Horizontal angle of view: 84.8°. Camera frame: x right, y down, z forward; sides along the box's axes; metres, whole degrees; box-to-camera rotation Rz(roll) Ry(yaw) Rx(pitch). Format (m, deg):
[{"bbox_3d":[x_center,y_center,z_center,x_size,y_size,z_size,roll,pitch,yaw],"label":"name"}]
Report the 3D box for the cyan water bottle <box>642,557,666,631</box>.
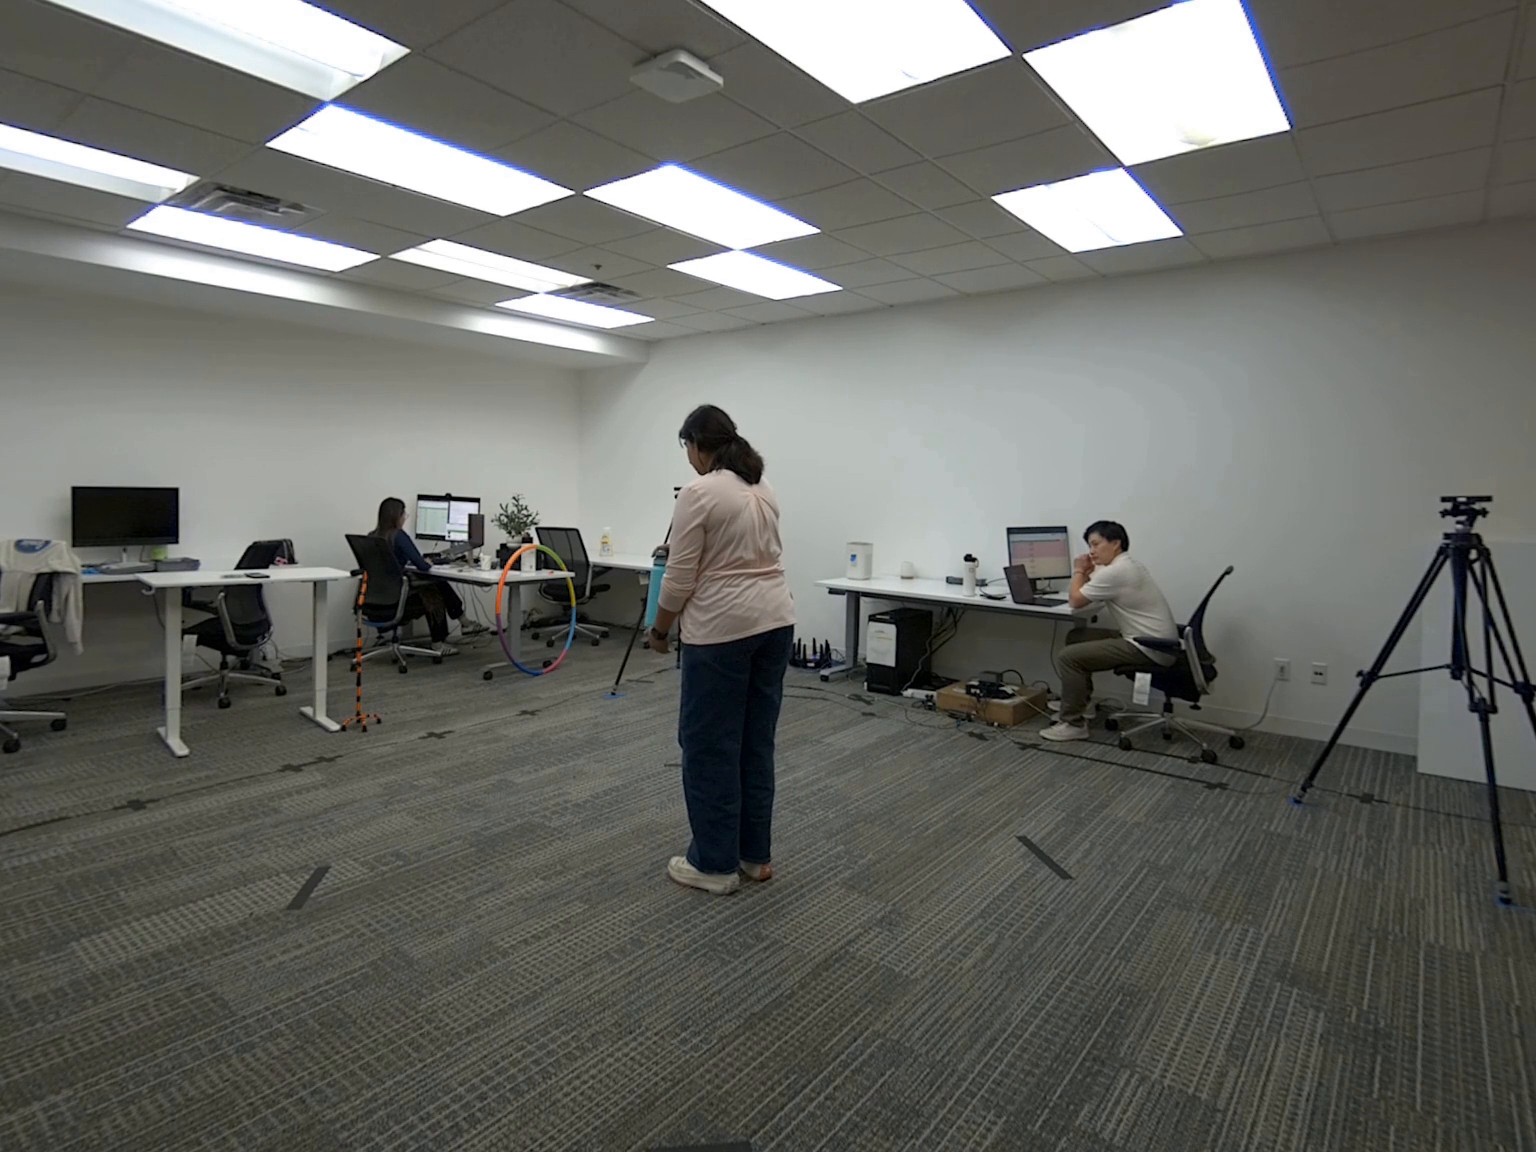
[{"bbox_3d":[-0.409,0.052,3.192,0.092,0.284,0.092,5,-4,-2],"label":"cyan water bottle"}]
